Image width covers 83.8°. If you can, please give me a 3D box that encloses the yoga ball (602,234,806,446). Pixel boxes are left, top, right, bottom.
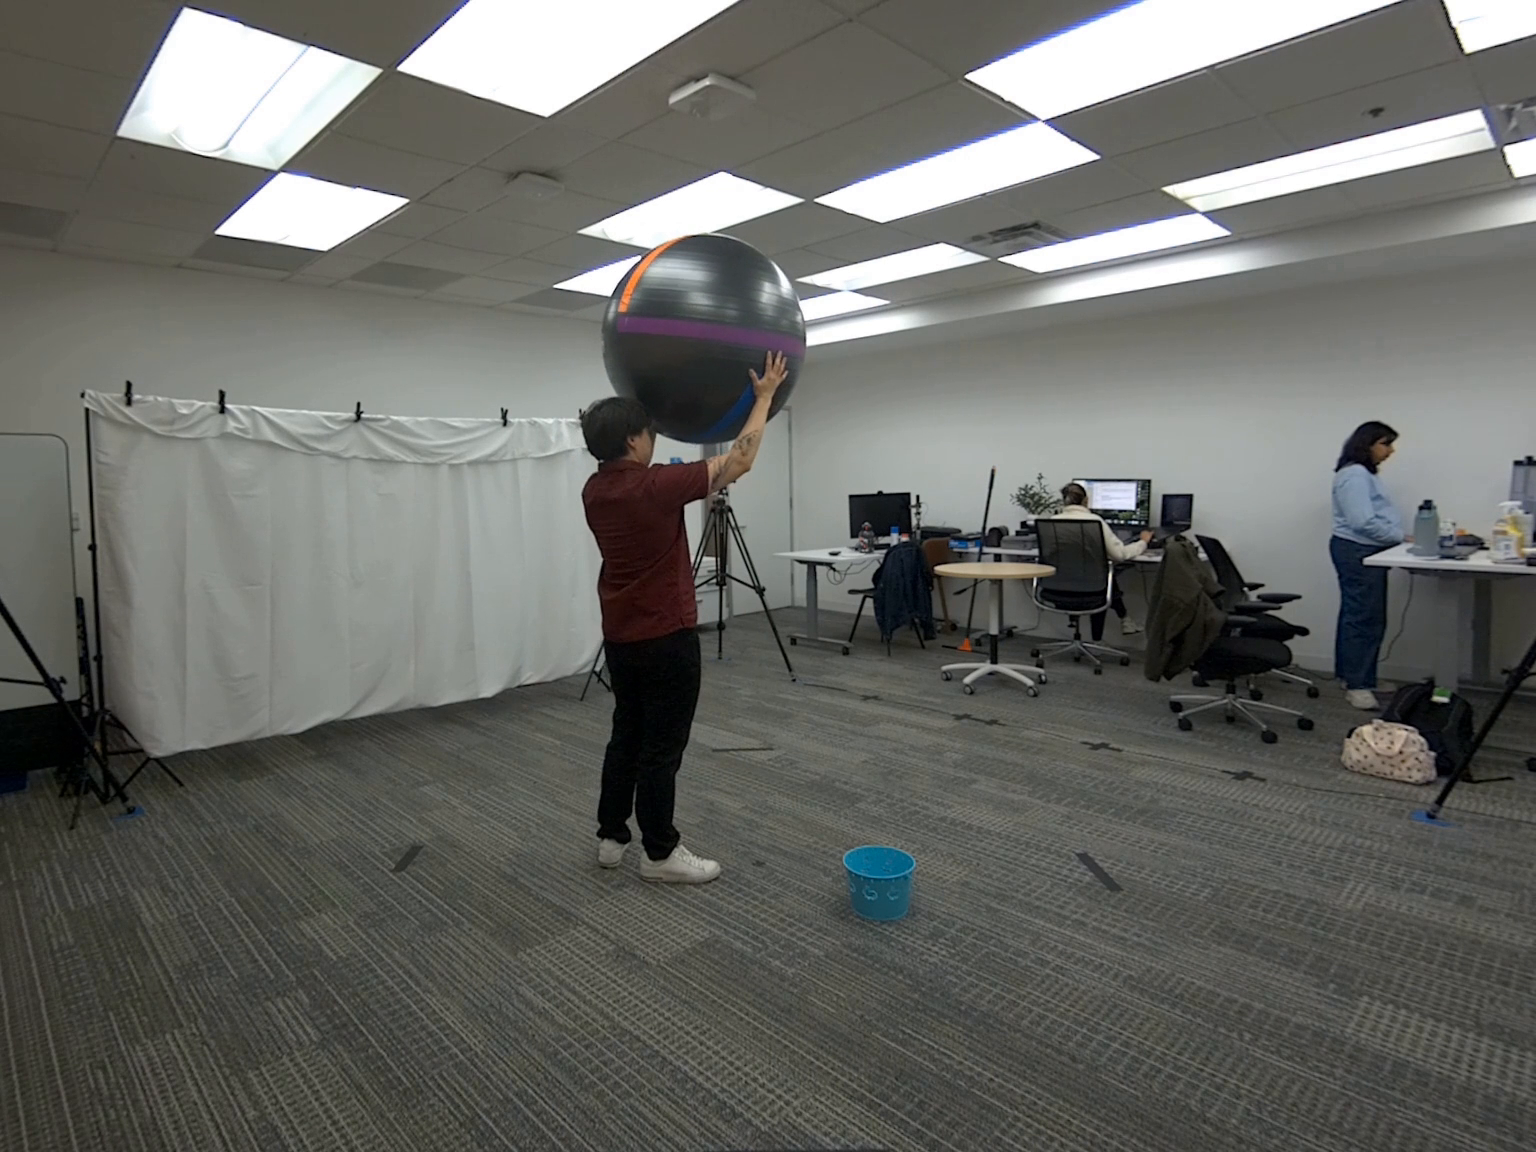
[{"bbox_3d":[-0.246,-0.868,3.182,0.757,0.755,0.762,-1,5,-2],"label":"yoga ball"}]
